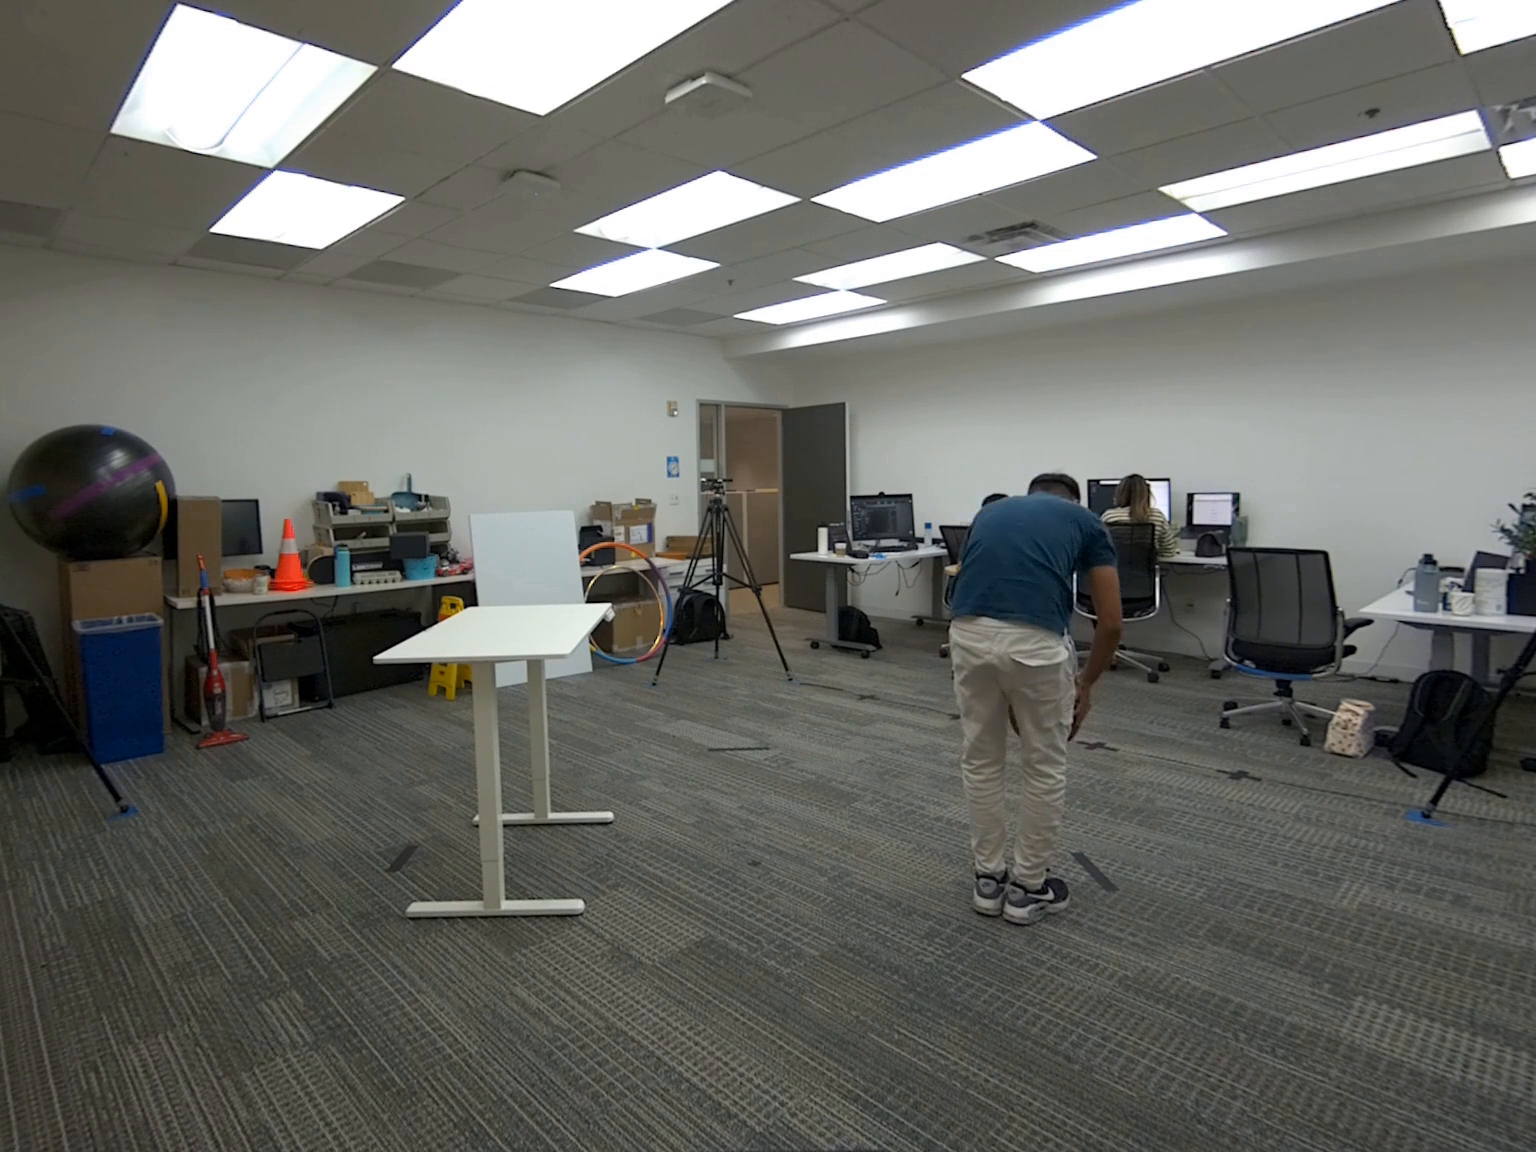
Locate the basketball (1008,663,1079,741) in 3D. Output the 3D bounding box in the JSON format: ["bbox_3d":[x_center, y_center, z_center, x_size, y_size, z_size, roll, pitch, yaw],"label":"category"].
[{"bbox_3d":[0.976,0.476,2.976,0.236,0.235,0.237,-1,5,-2],"label":"basketball"}]
